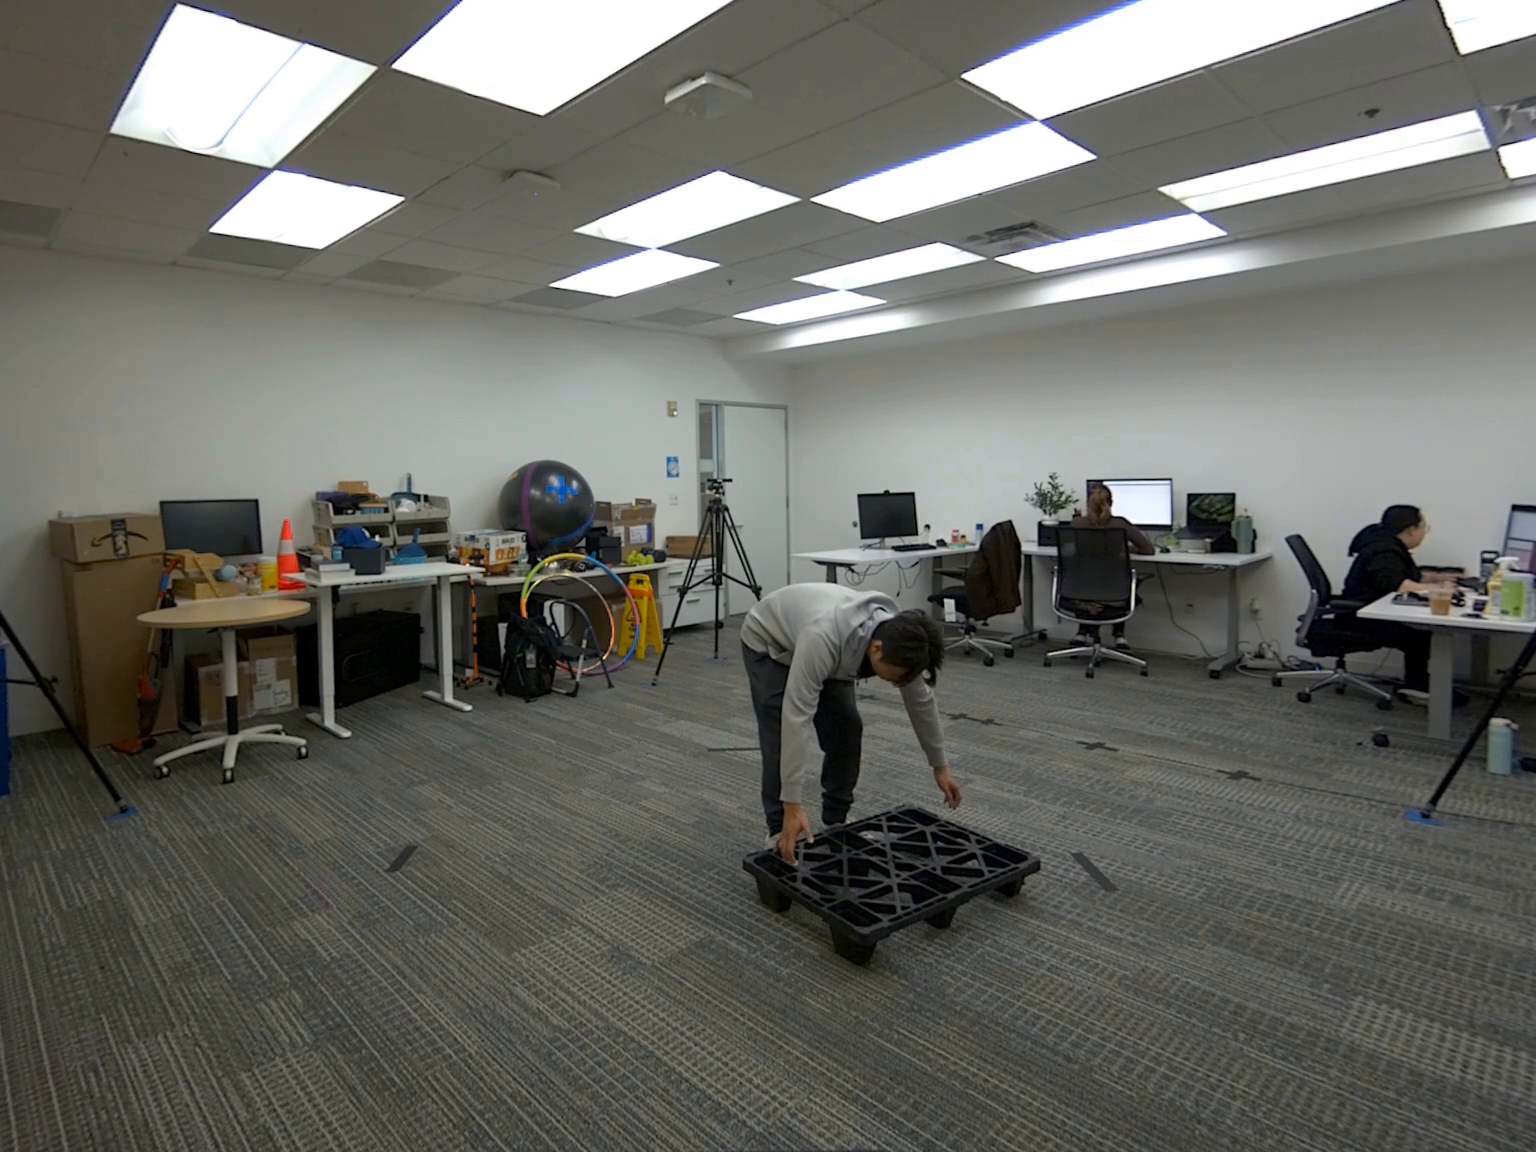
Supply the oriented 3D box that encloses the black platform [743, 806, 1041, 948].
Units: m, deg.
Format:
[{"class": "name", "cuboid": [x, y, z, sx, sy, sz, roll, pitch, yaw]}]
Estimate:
[{"class": "black platform", "cuboid": [0.408, 1.006, 2.828, 0.785, 0.143, 0.623, -6, 7, -35]}]
